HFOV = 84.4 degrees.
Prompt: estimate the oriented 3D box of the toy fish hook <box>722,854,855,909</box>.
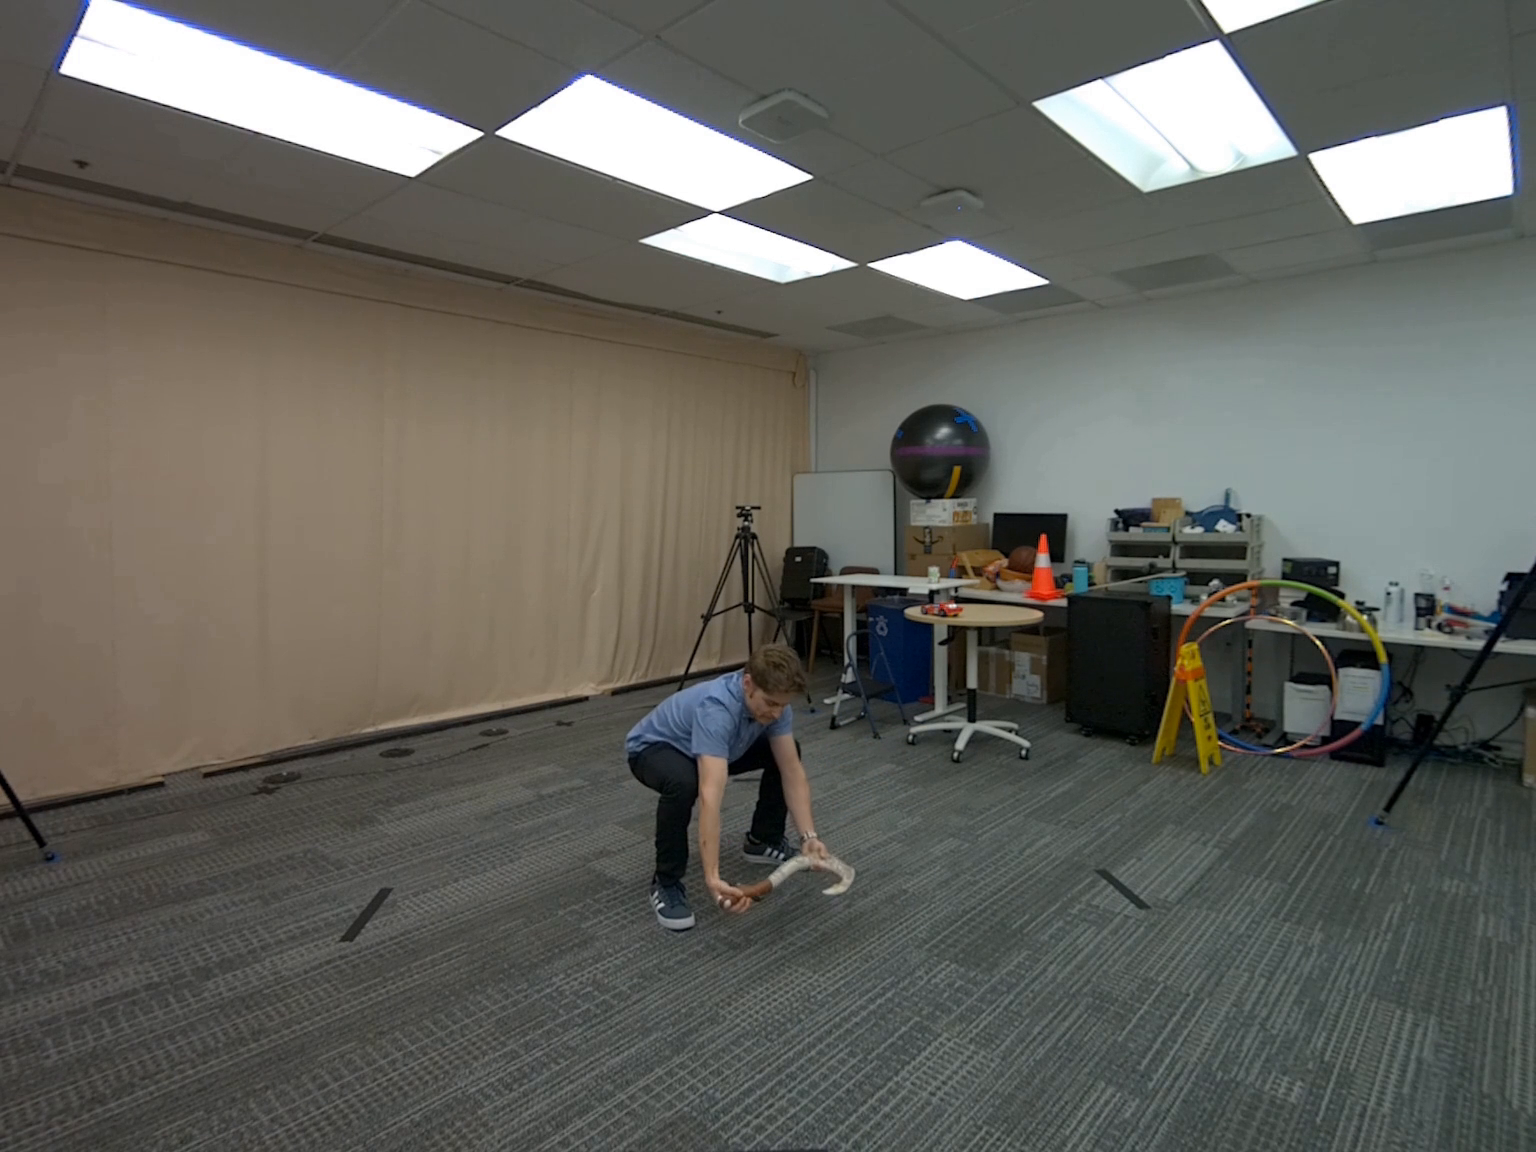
[{"bbox_3d":[0.070,0.956,2.606,0.491,0.048,0.232,-6,9,-43],"label":"toy fish hook"}]
